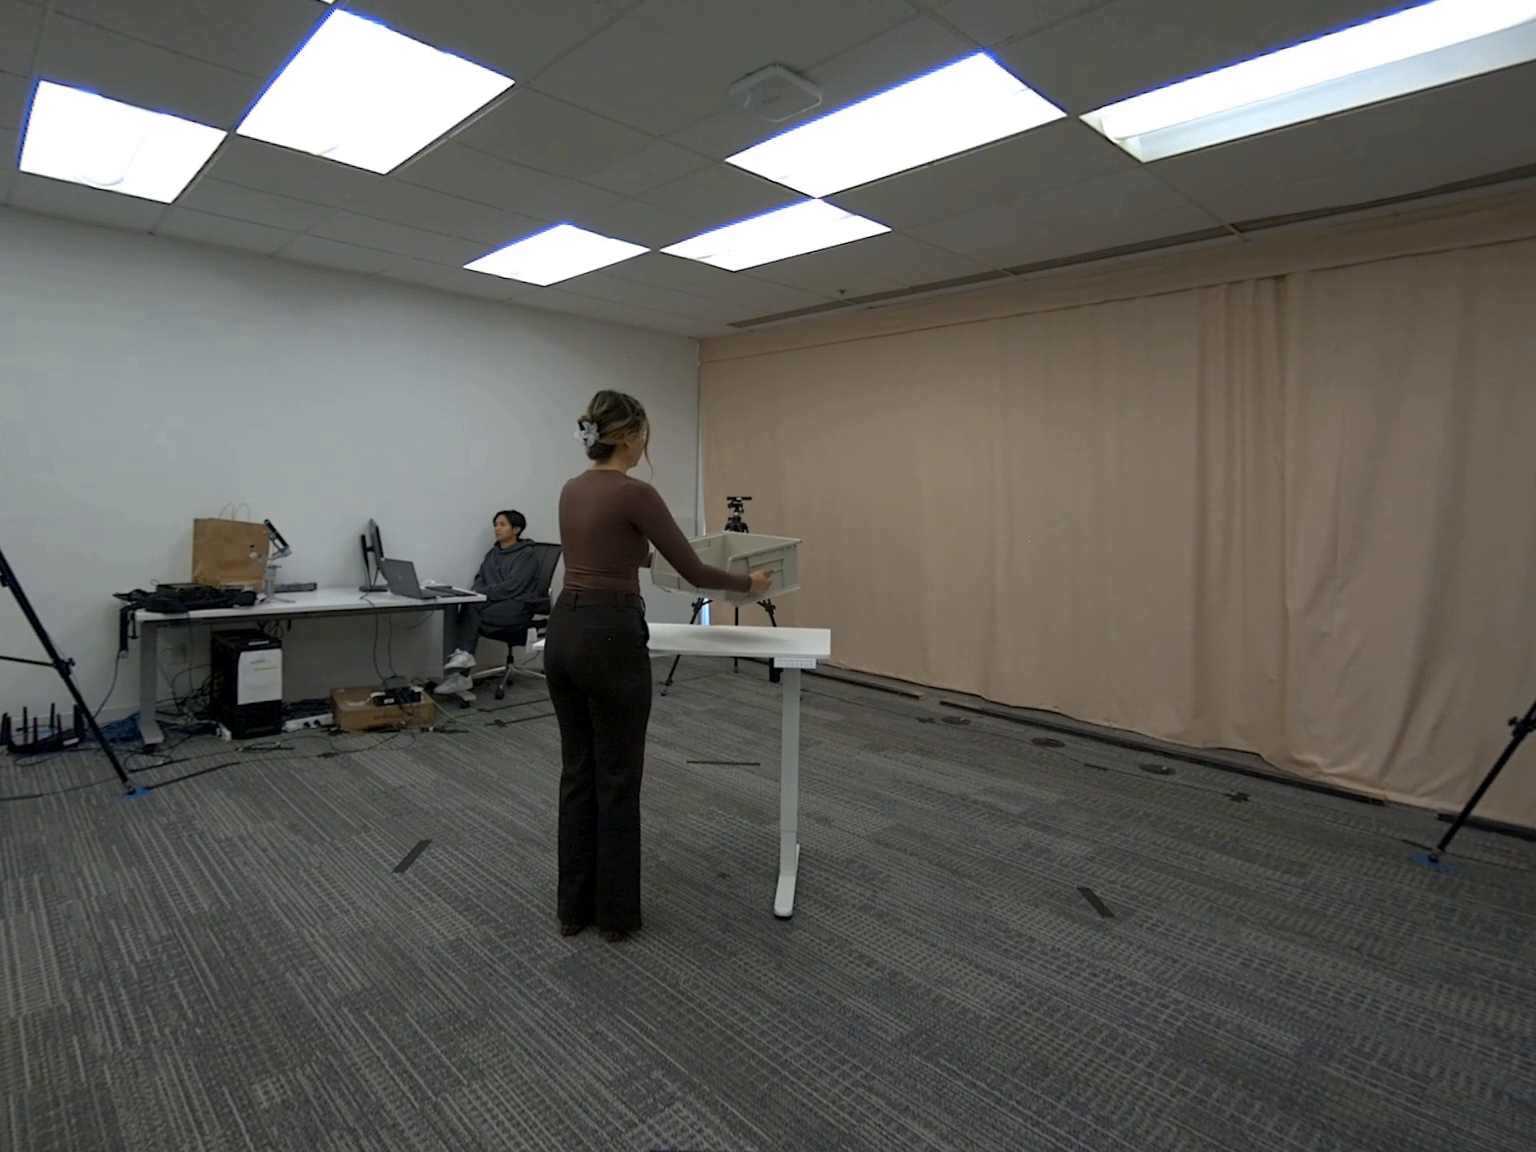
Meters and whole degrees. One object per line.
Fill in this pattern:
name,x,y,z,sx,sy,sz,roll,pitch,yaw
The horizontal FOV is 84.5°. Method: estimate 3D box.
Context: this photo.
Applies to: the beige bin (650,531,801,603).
beige bin,-0.160,-0.032,3.062,0.370,0.187,0.433,-12,14,-41
